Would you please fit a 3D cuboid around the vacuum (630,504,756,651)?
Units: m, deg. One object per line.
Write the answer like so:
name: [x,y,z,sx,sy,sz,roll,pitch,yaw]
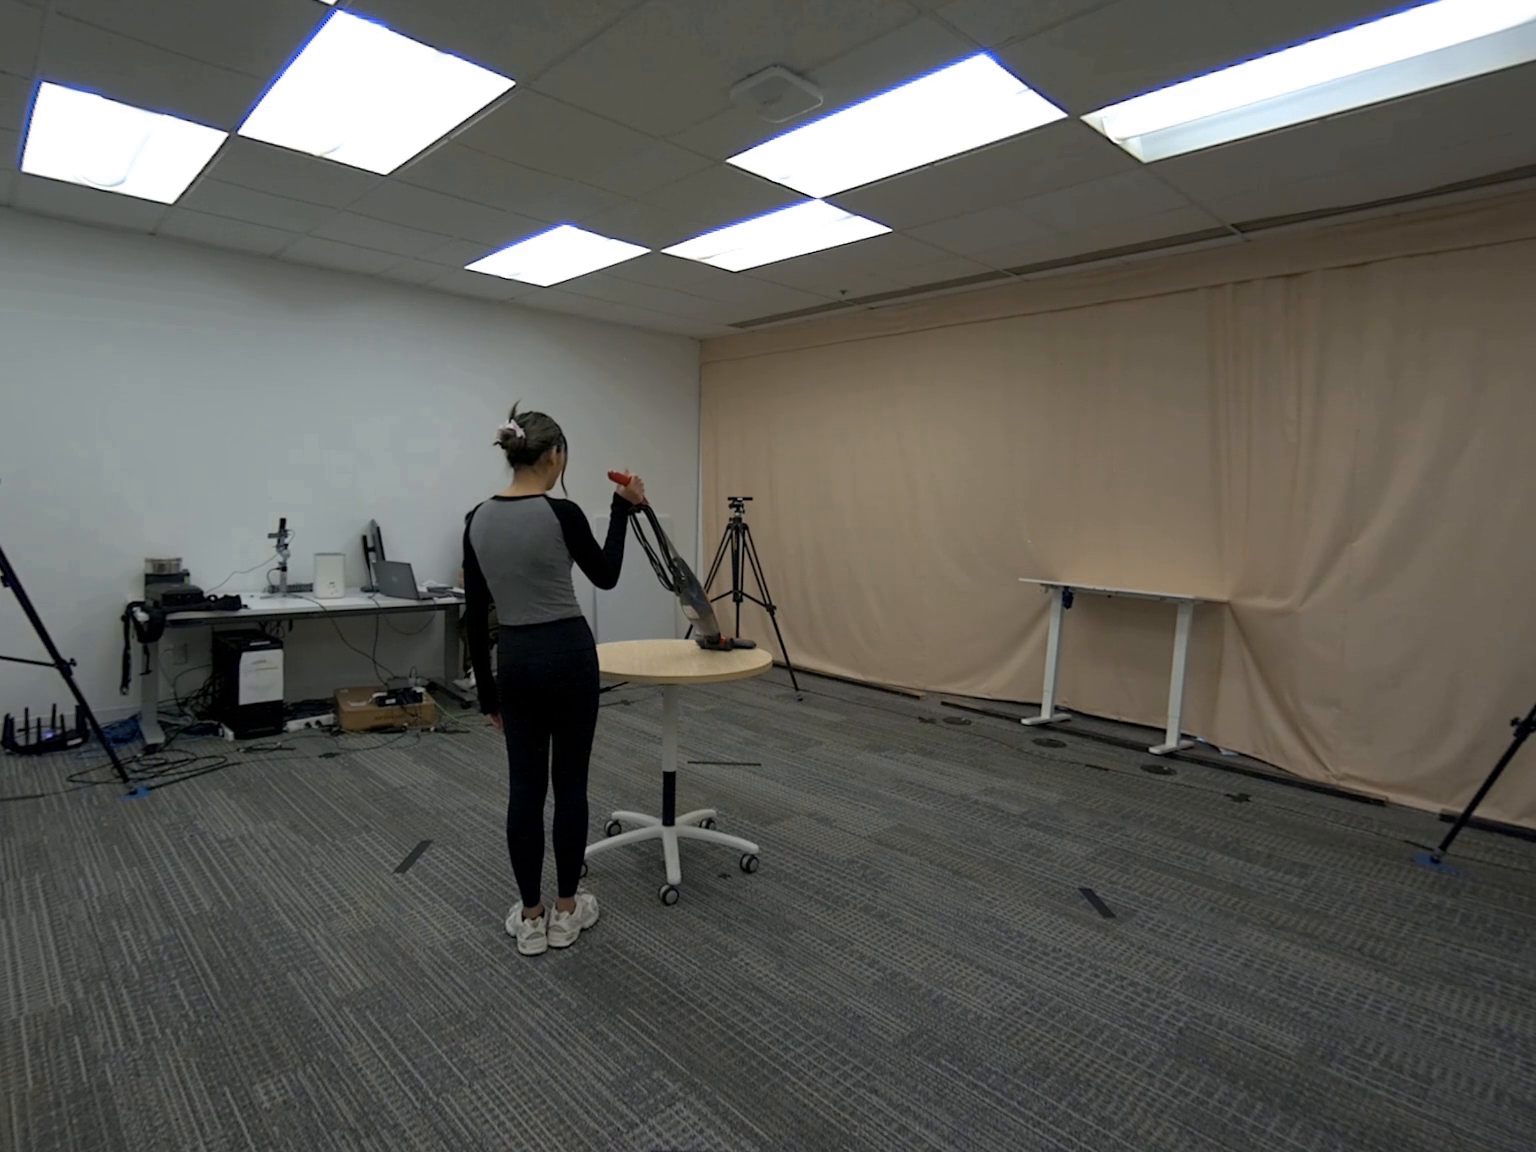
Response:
vacuum: [-0.338,-0.018,3.000,0.258,0.145,1.018,13,-28,28]
